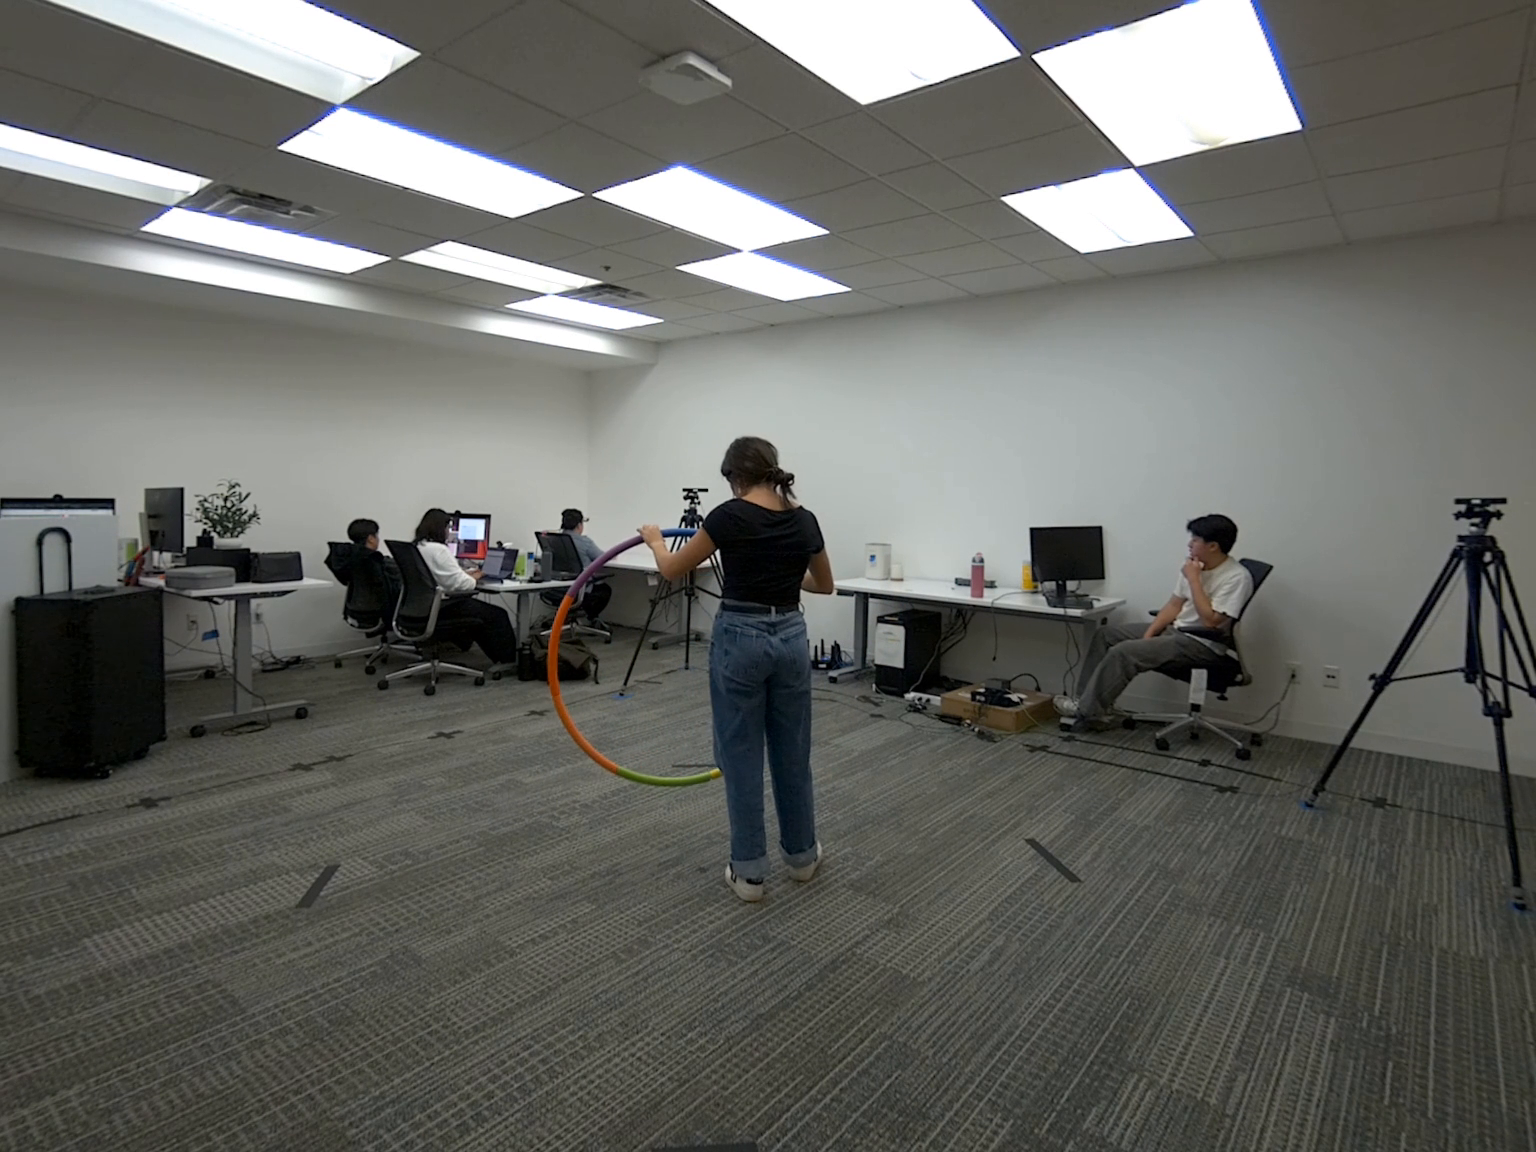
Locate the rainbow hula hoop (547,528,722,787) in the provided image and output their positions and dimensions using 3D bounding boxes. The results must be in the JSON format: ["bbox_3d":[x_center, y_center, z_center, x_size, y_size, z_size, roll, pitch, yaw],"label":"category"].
[{"bbox_3d":[-0.339,0.313,3.248,0.965,0.977,0.036,0,1,-13],"label":"rainbow hula hoop"}]
